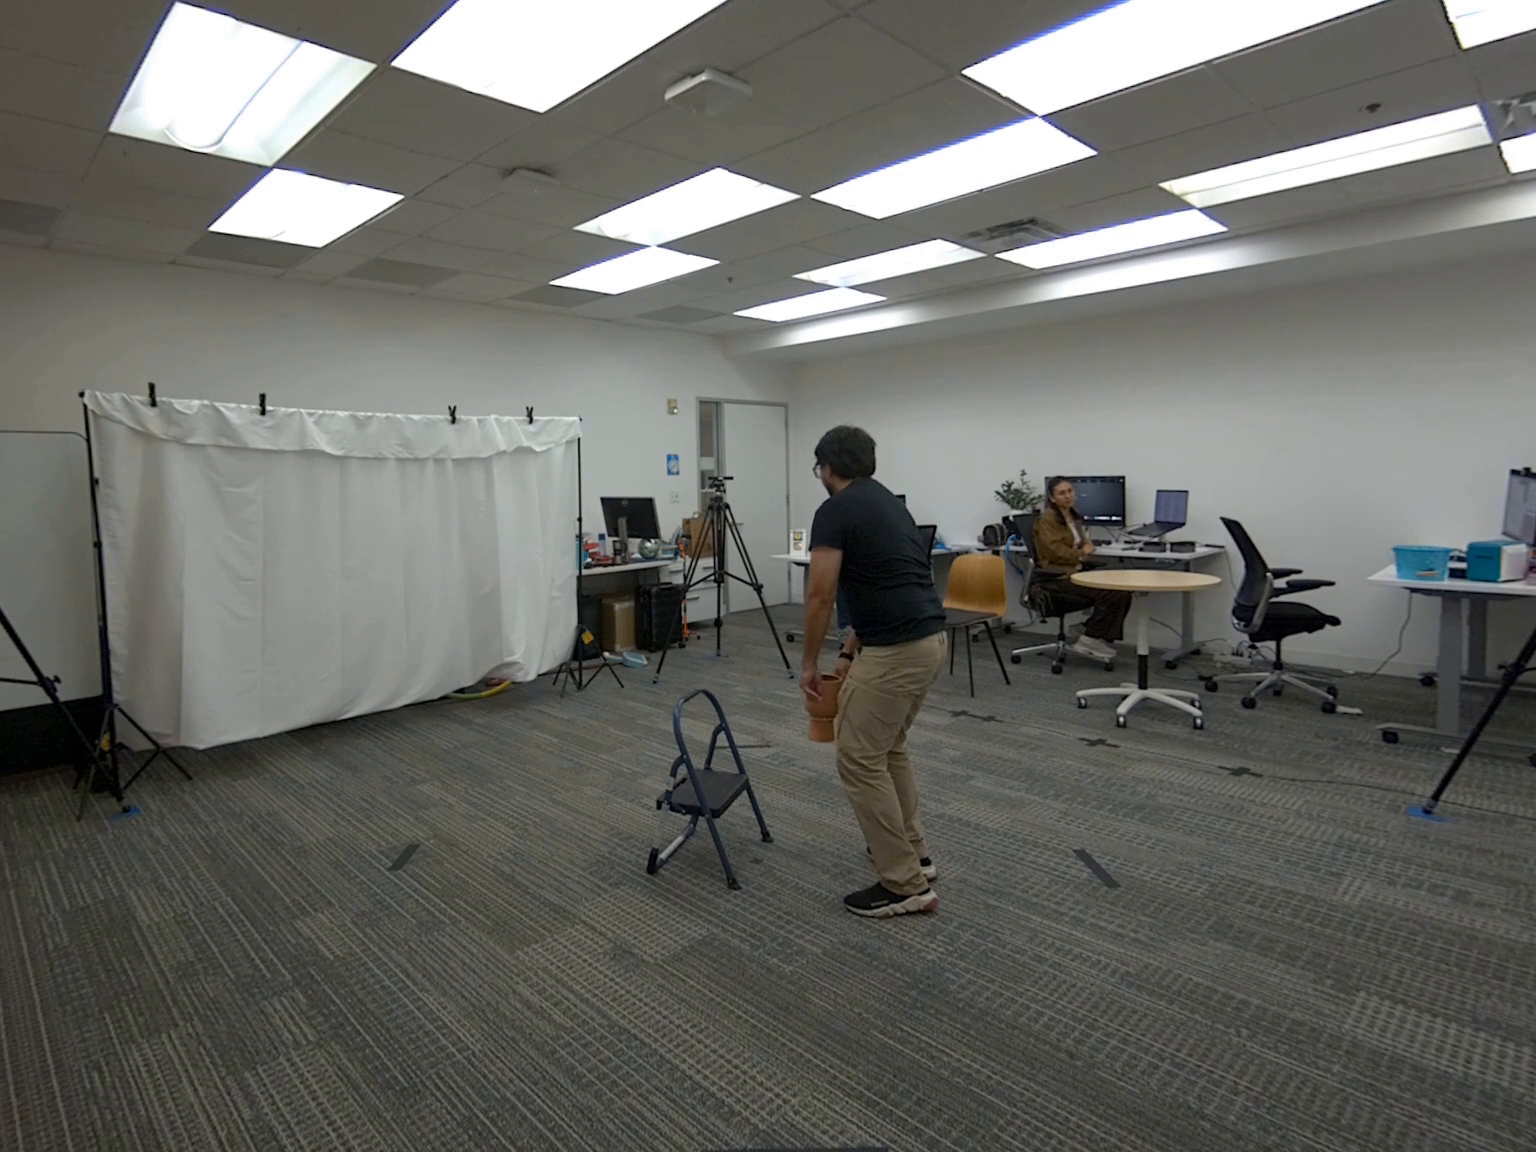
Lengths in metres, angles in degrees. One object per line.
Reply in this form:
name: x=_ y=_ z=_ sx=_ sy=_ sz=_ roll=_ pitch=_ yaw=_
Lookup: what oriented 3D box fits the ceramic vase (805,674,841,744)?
ceramic vase: x=0.207 y=0.476 z=3.029 sx=0.156 sy=0.219 sz=0.137 roll=0 pitch=4 yaw=-17
